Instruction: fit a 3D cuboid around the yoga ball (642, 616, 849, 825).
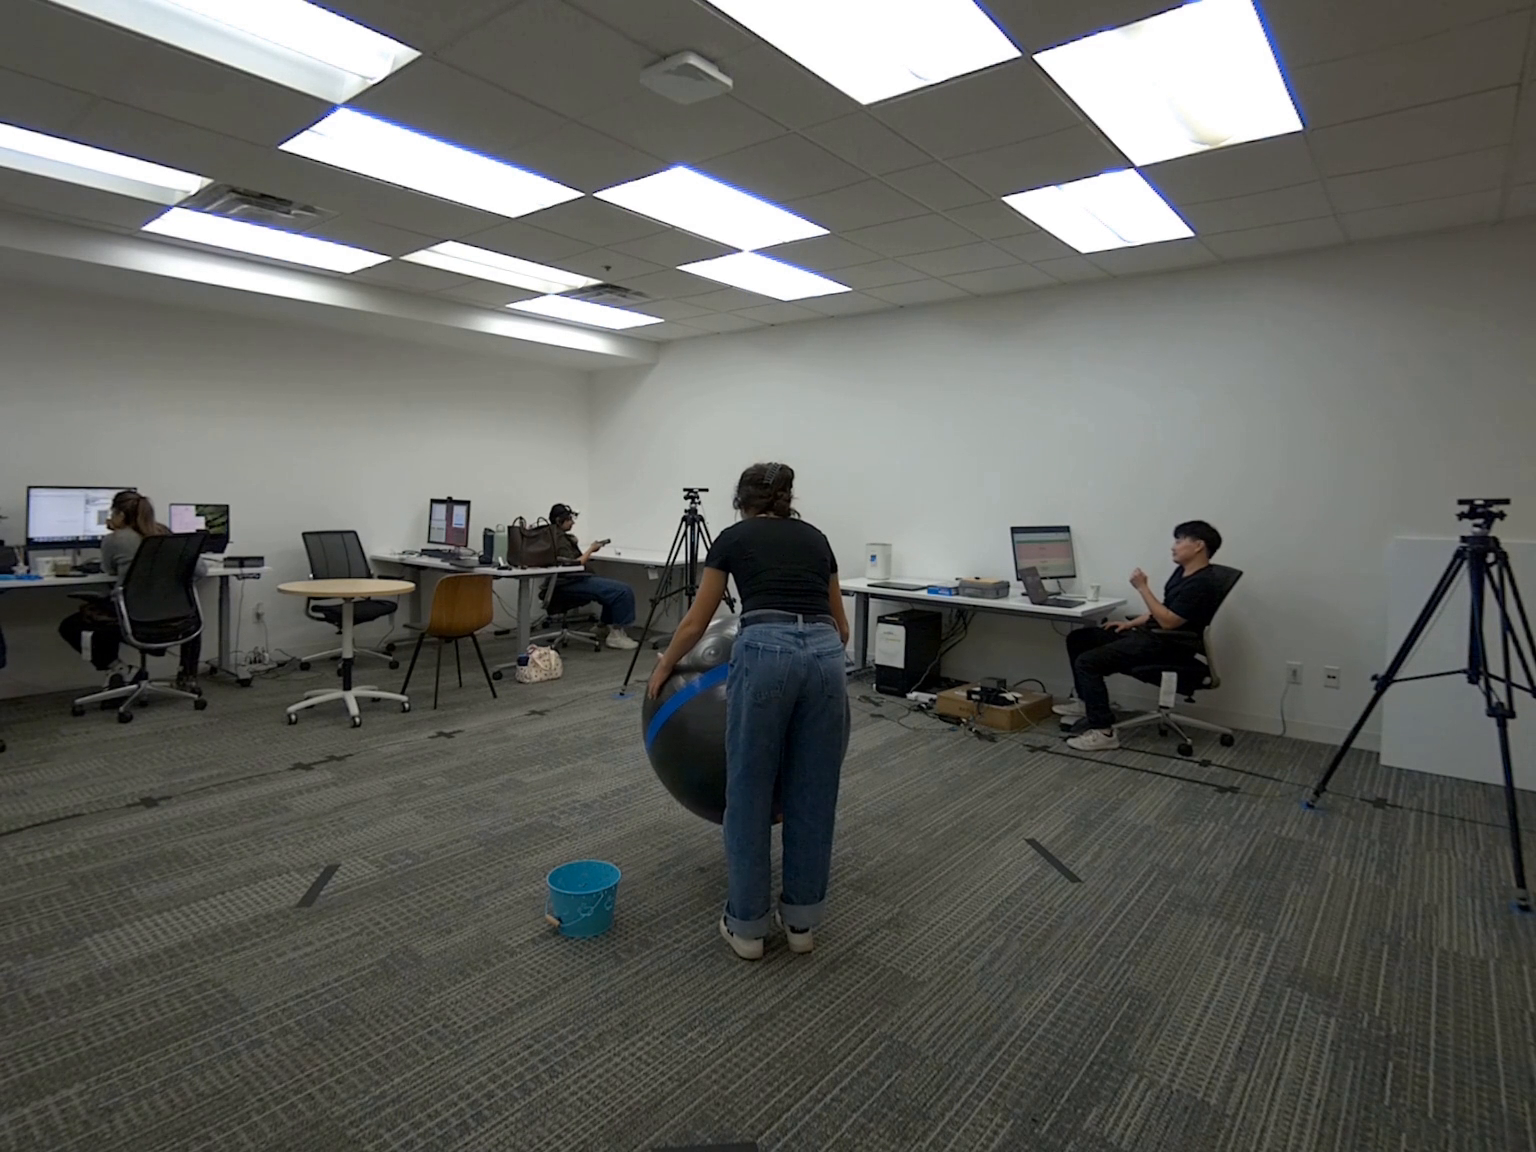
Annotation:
[{"bbox_3d":[-0.086,0.529,3.100,0.757,0.755,0.762,1,4,-2],"label":"yoga ball"}]
